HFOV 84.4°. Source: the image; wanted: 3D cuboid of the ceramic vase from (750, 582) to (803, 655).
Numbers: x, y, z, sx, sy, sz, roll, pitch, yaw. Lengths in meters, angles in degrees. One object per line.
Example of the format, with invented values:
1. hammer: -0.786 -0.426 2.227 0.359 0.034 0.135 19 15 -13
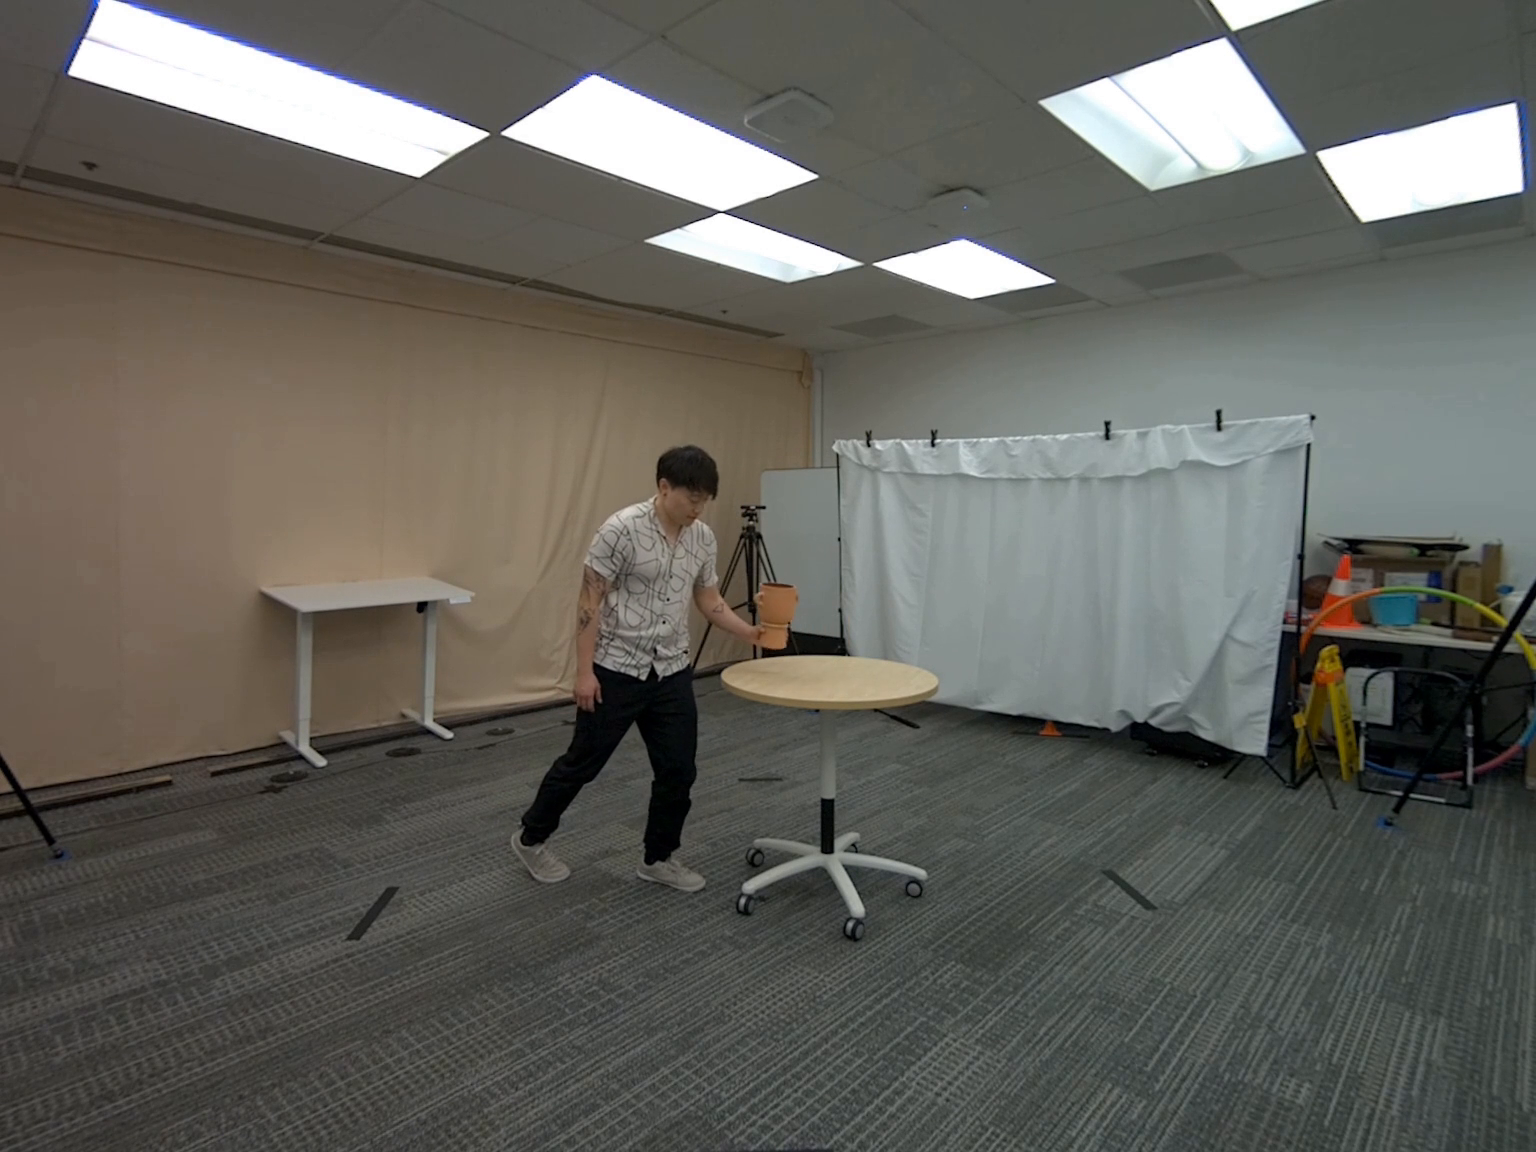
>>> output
1. ceramic vase: 0.026 0.146 2.987 0.159 0.219 0.135 5 5 1
